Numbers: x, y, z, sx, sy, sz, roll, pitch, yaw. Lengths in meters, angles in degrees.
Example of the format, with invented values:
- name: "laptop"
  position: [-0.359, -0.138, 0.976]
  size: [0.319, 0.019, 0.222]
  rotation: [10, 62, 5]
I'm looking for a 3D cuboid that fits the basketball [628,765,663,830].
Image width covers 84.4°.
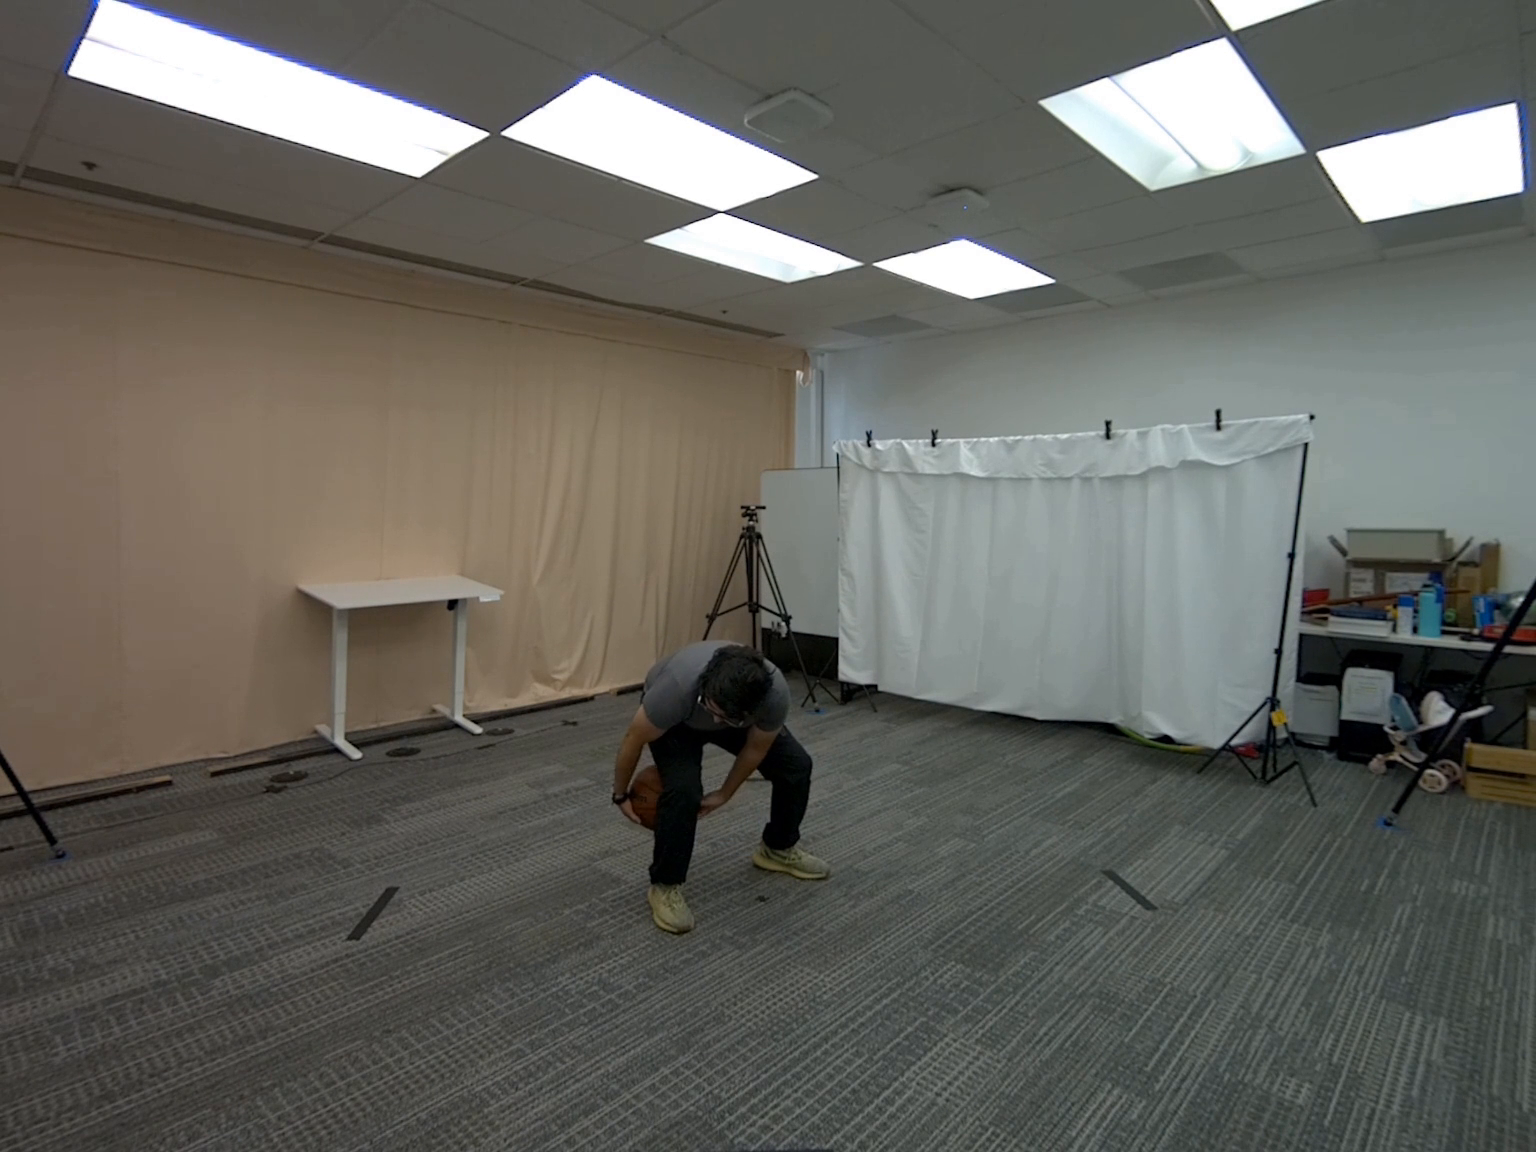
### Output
- name: "basketball"
  position: [-0.384, 0.799, 3.035]
  size: [0.236, 0.235, 0.237]
  rotation: [0, 4, -2]
